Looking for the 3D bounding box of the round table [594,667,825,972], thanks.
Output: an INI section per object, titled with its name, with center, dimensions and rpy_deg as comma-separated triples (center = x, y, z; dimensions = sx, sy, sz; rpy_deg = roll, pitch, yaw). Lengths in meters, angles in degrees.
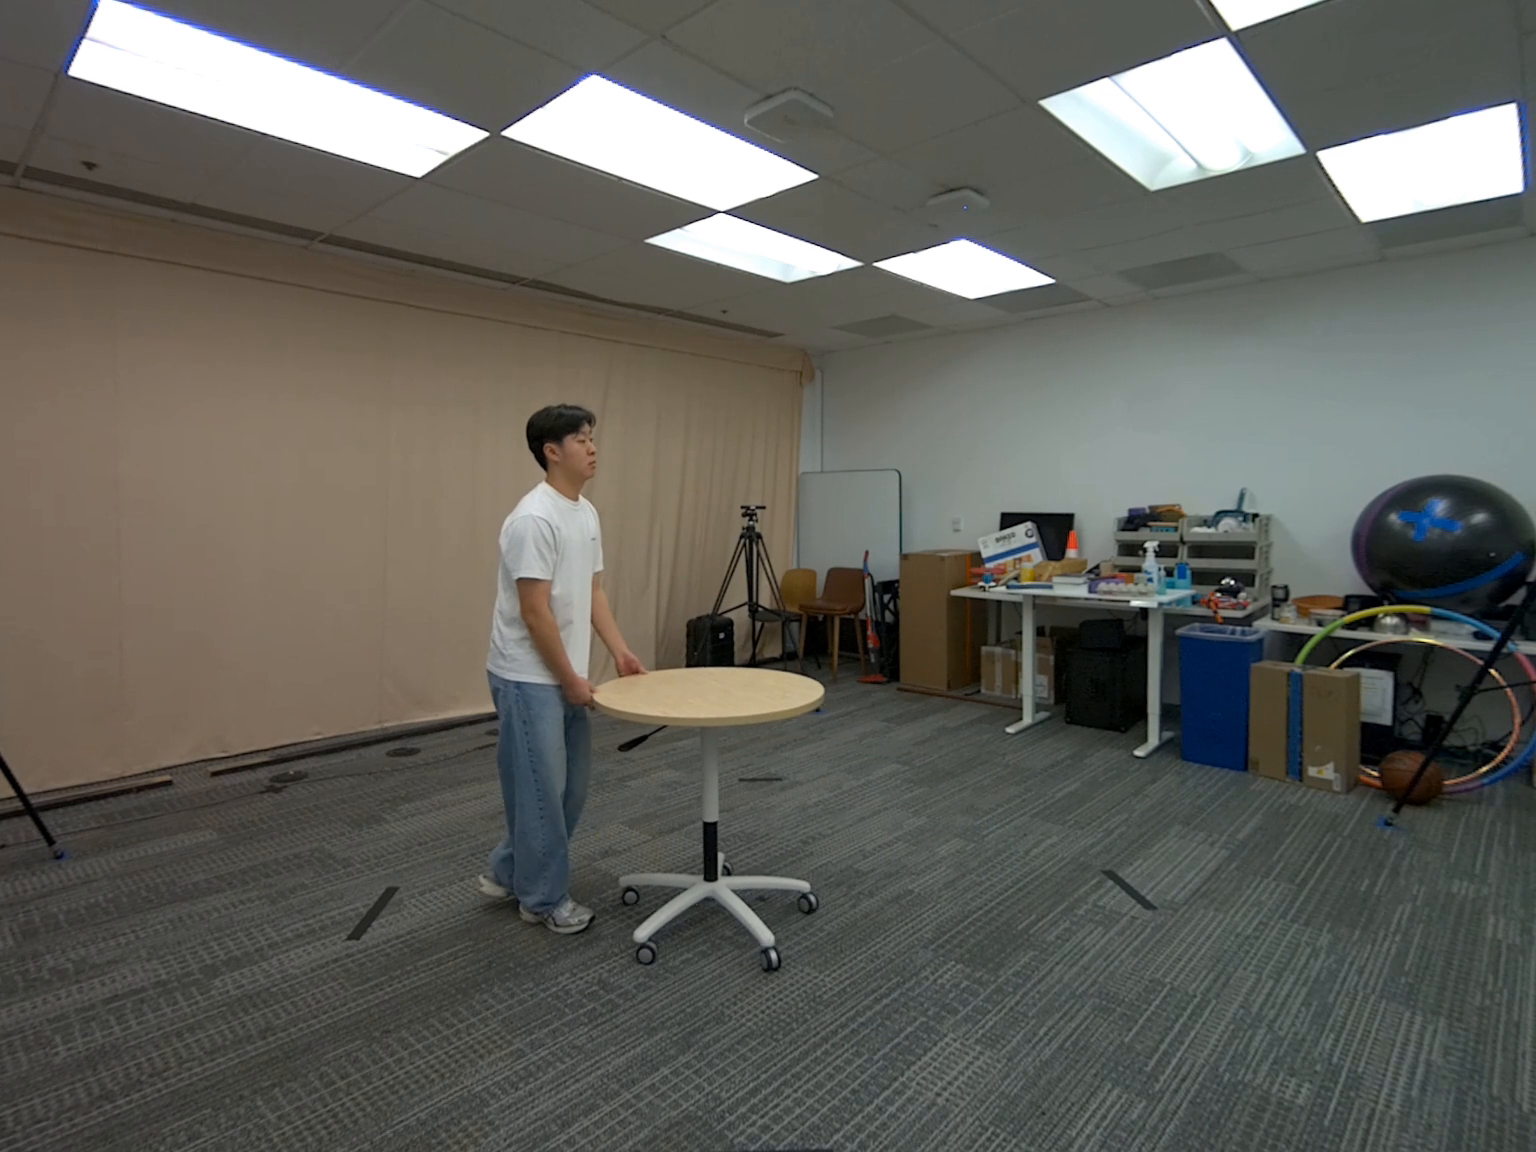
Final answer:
[round table]
center = -0.183, 0.771, 2.808
dimensions = 0.763, 0.792, 0.766
rpy_deg = -1, 4, -2
